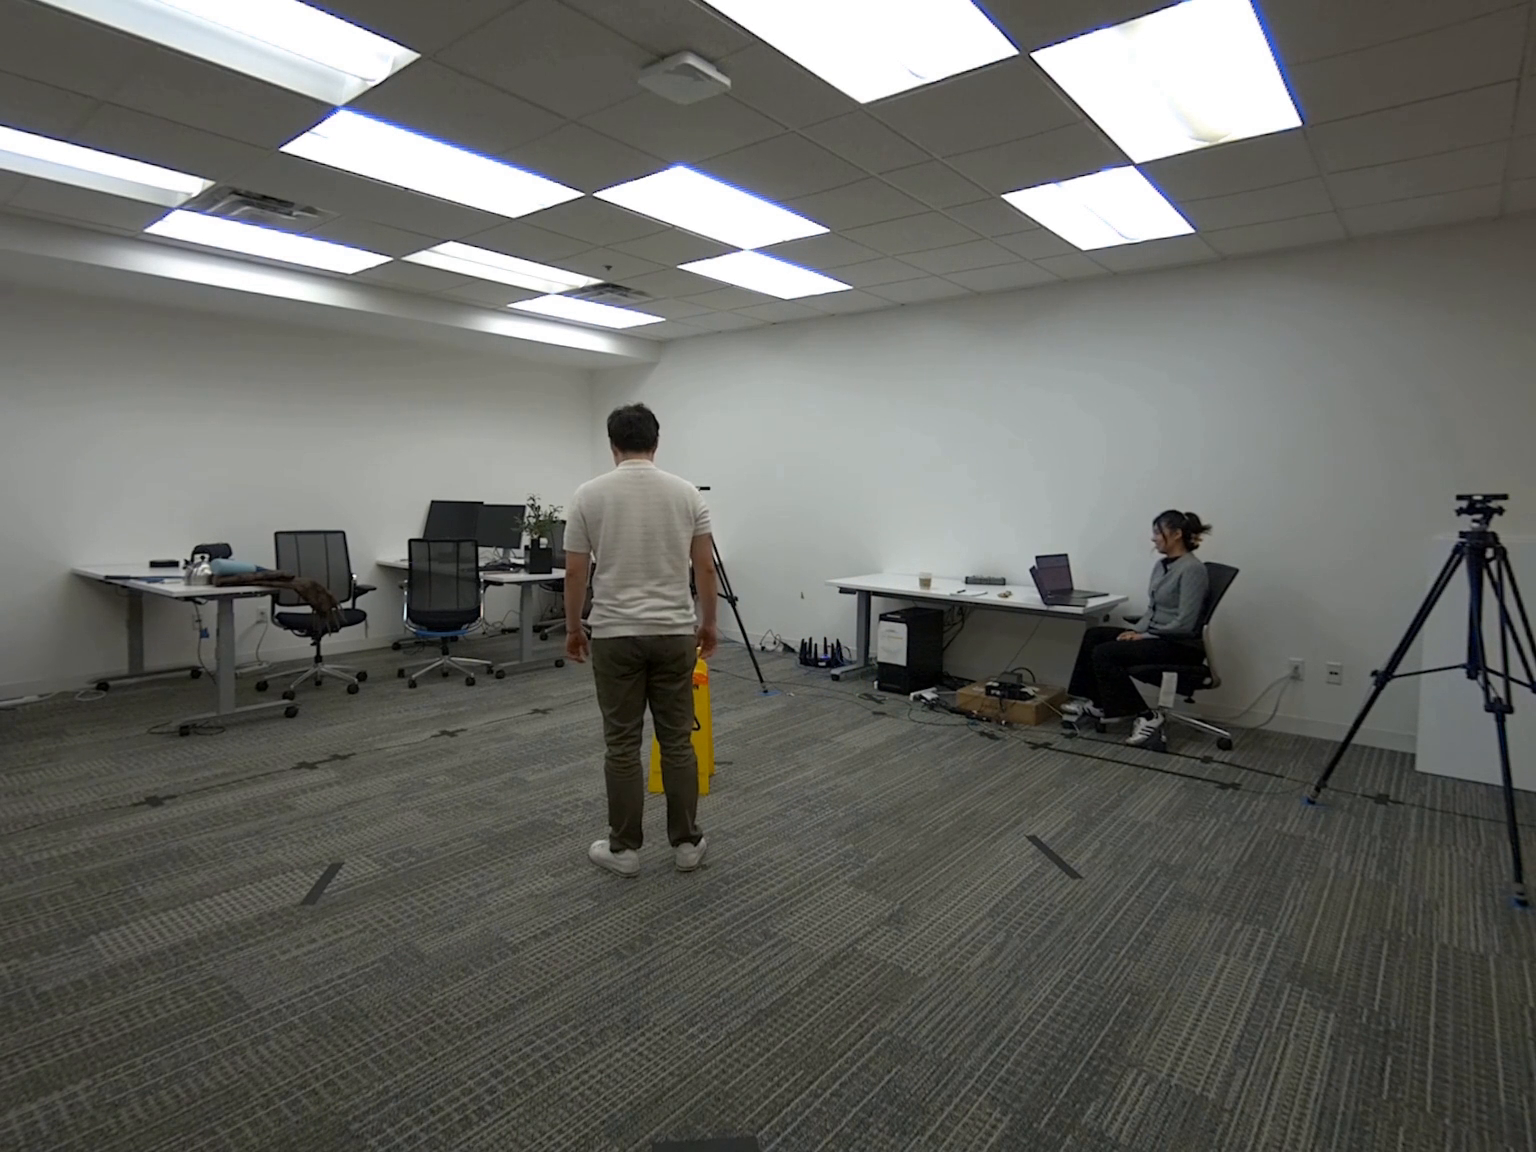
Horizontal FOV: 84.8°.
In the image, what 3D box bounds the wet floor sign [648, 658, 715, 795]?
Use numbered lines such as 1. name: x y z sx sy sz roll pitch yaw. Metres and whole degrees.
1. wet floor sign: -0.409 0.649 4.005 0.284 0.644 0.289 0 3 4
